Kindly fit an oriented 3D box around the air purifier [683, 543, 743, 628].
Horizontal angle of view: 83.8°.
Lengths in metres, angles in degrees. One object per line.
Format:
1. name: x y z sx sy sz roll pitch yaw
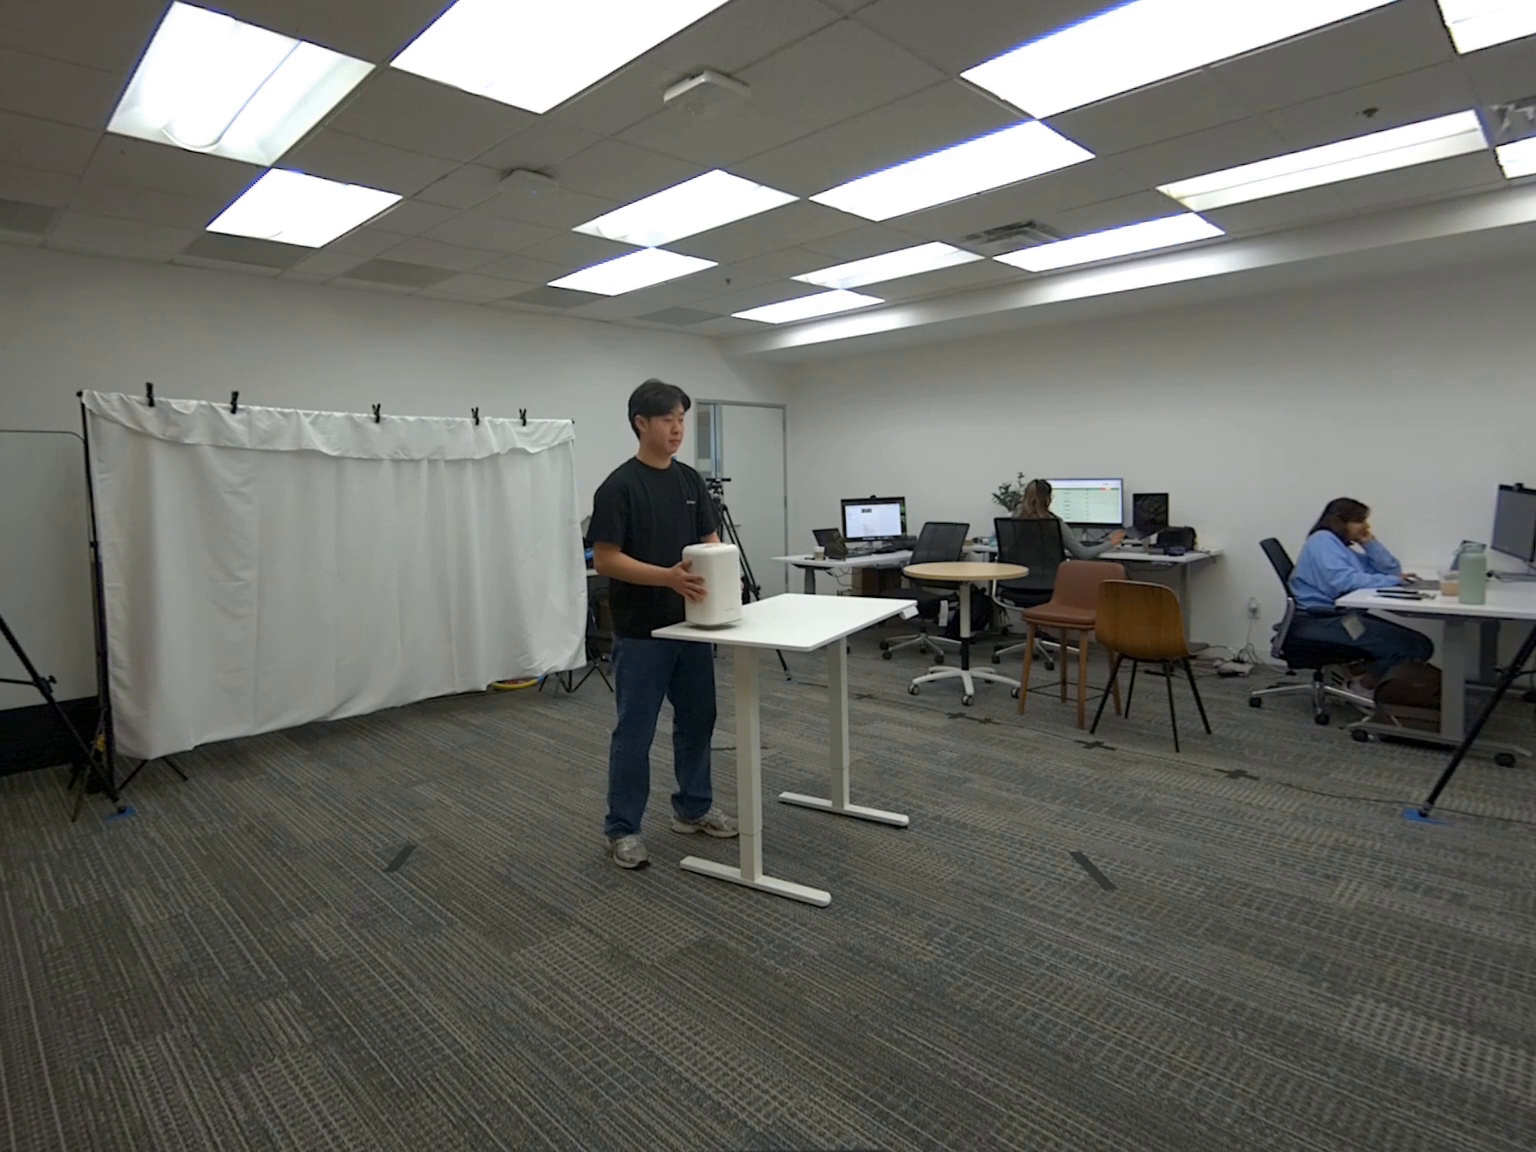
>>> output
1. air purifier: -0.194 0.022 2.981 0.177 0.264 0.167 3 7 45
